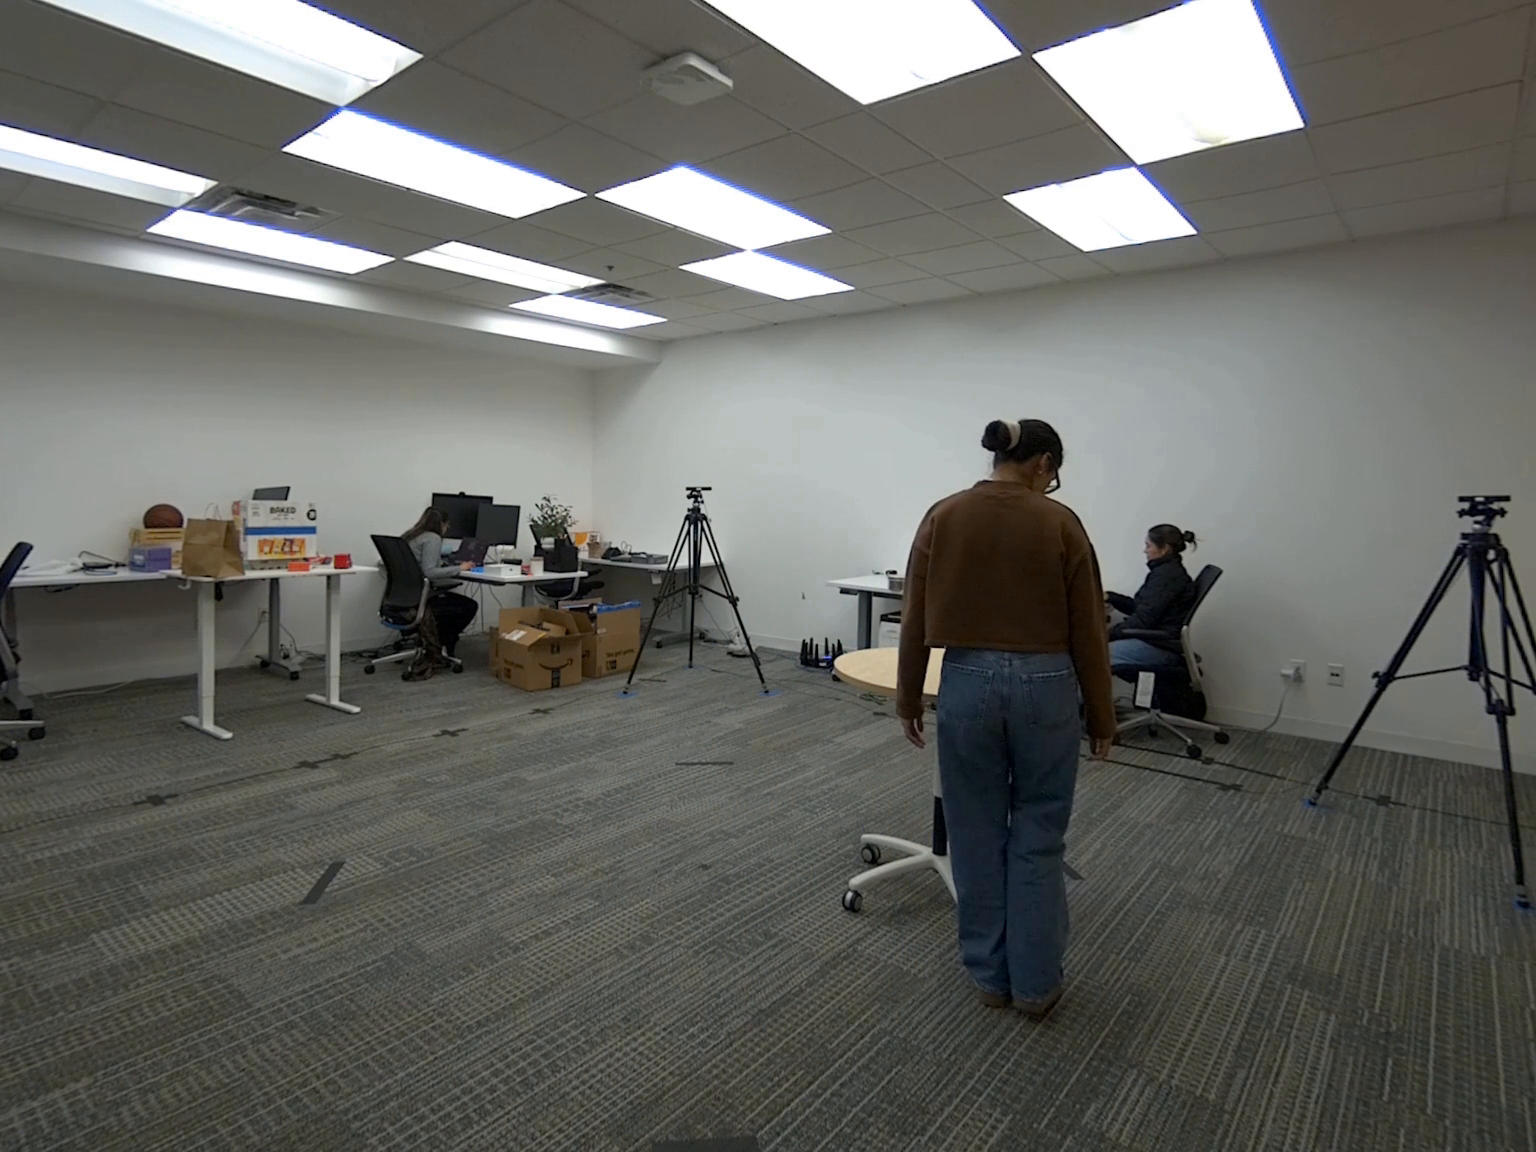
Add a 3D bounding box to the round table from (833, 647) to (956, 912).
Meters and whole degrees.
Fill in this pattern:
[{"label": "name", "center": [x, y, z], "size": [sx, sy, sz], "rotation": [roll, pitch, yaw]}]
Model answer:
[{"label": "round table", "center": [0.588, 0.707, 2.935], "size": [0.763, 0.791, 0.768], "rotation": [1, 5, -2]}]
